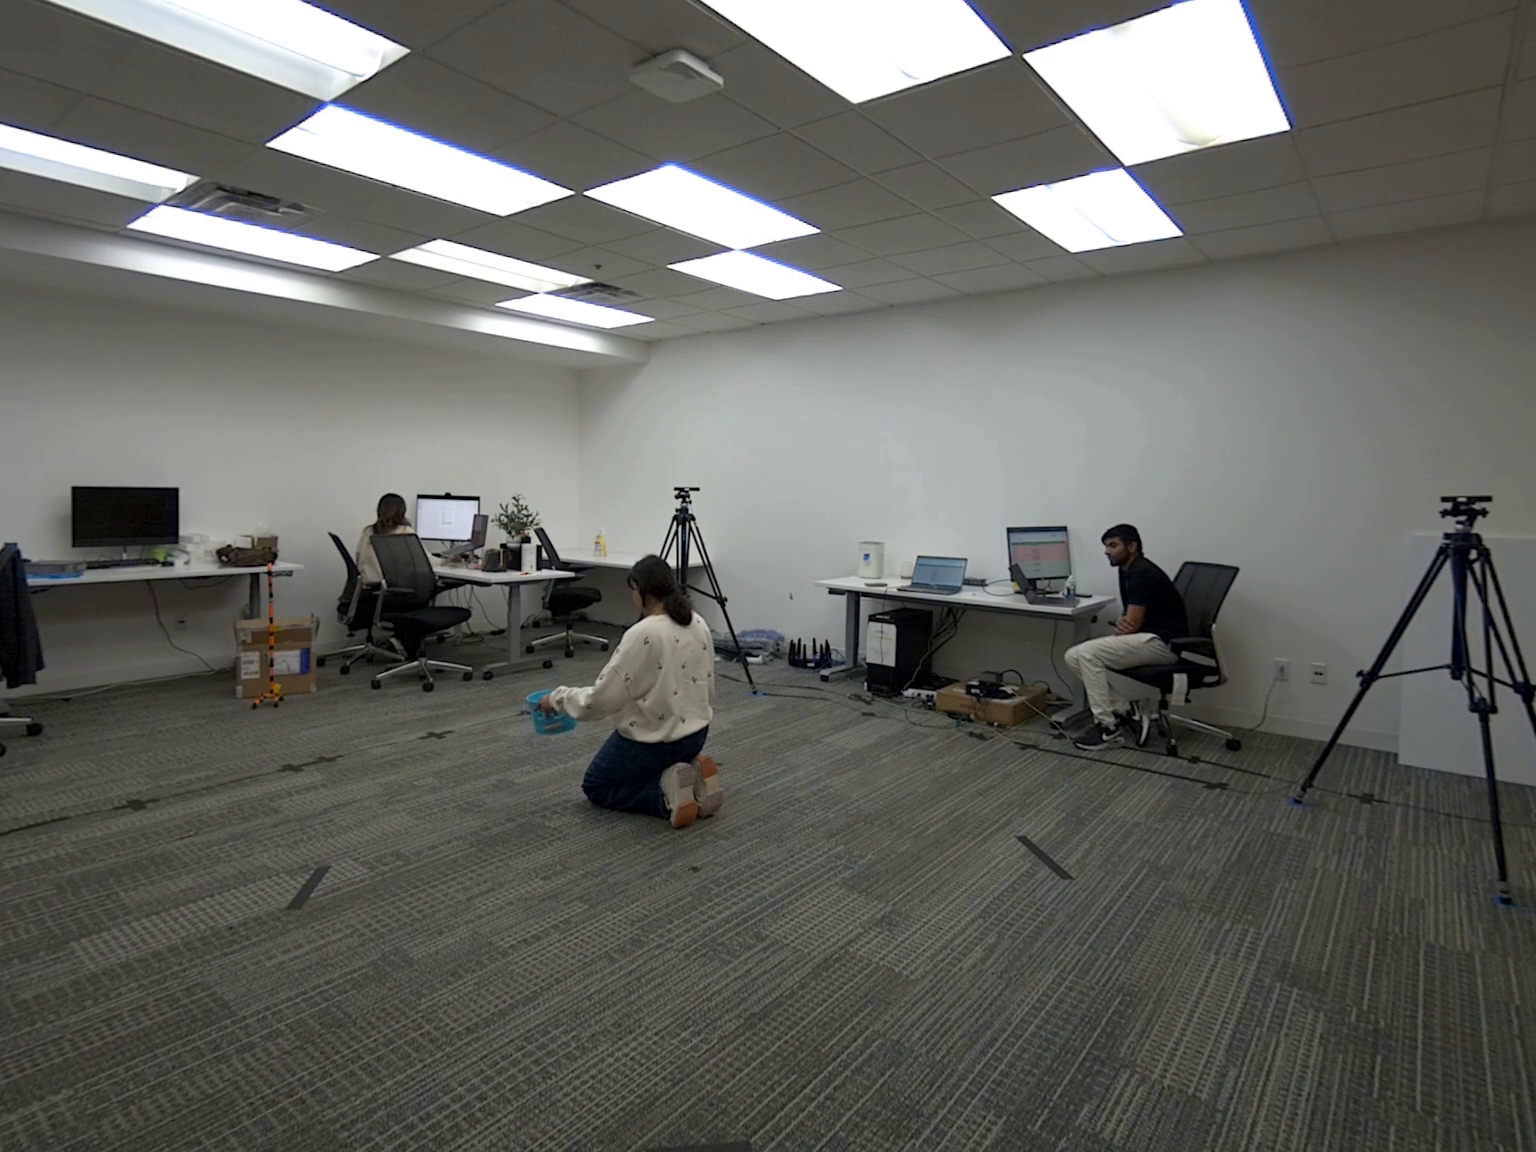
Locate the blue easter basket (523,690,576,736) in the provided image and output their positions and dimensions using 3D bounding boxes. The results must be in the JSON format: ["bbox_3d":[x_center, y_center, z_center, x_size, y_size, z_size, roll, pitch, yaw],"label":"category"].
[{"bbox_3d":[-0.954,0.599,3.748,0.243,0.155,0.245,-5,5,-1],"label":"blue easter basket"}]
